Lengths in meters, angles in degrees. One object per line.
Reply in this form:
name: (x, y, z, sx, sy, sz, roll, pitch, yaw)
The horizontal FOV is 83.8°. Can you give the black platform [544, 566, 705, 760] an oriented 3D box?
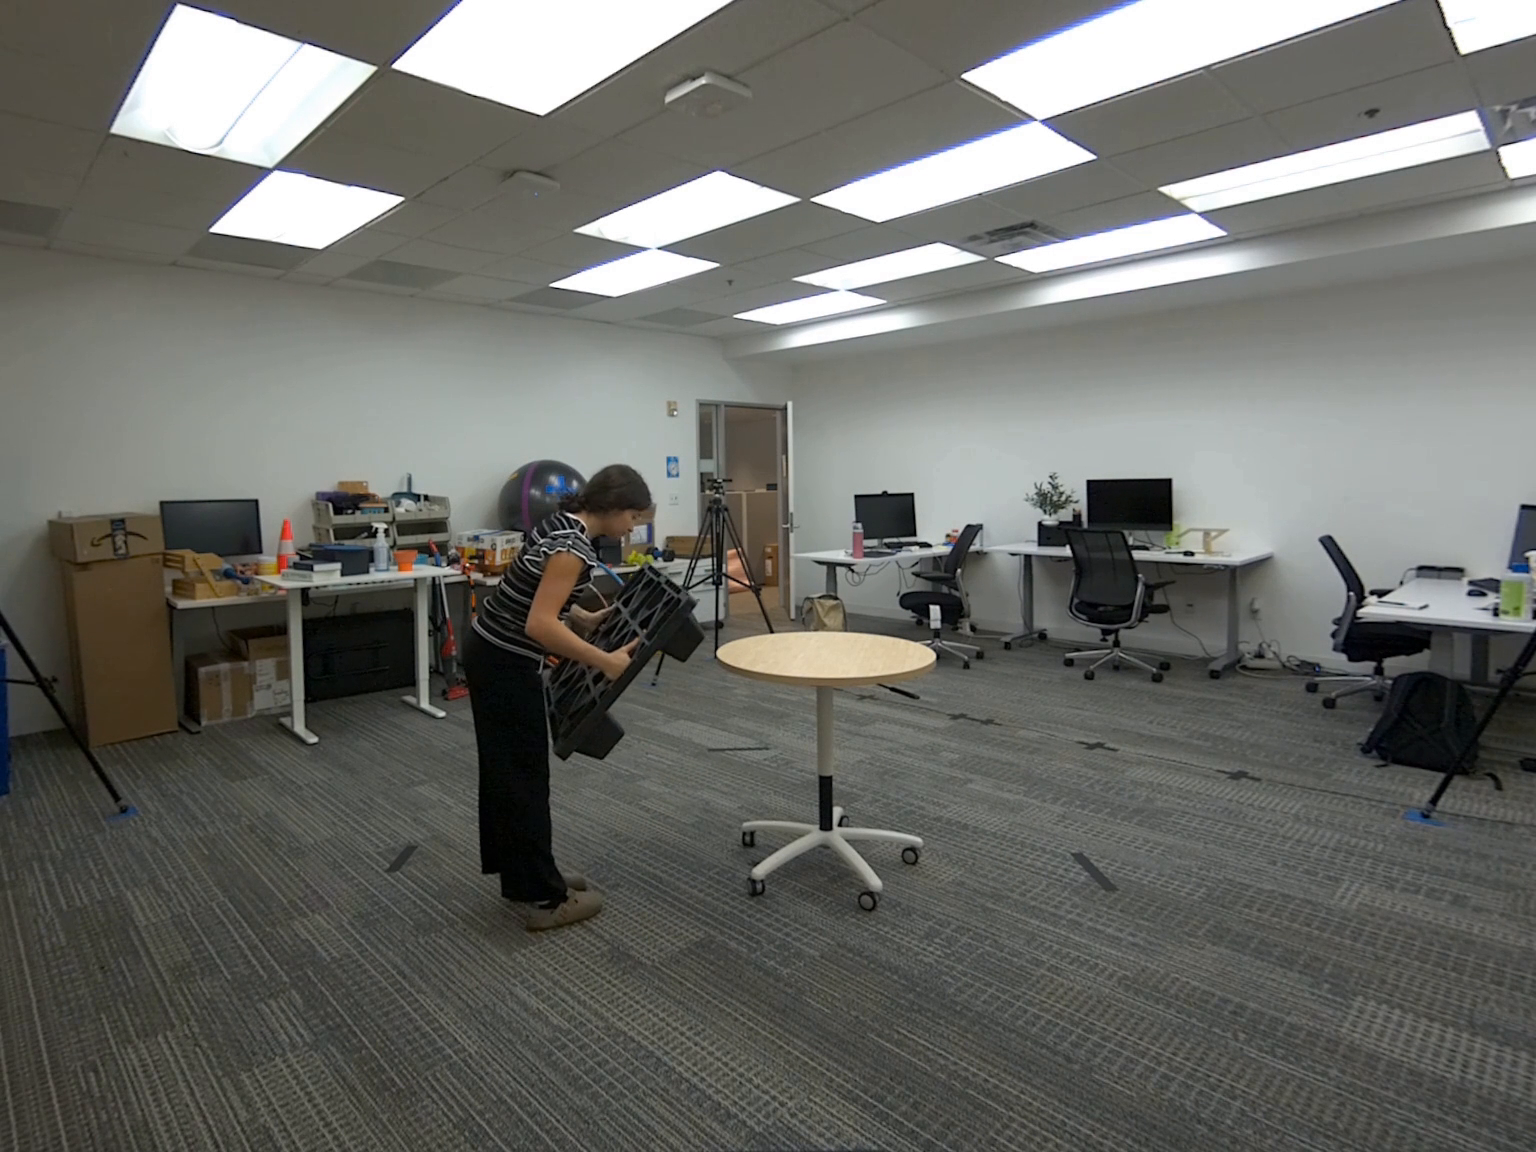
black platform: (-0.485, 0.259, 2.851, 0.140, 0.605, 0.823, 42, -5, -18)
